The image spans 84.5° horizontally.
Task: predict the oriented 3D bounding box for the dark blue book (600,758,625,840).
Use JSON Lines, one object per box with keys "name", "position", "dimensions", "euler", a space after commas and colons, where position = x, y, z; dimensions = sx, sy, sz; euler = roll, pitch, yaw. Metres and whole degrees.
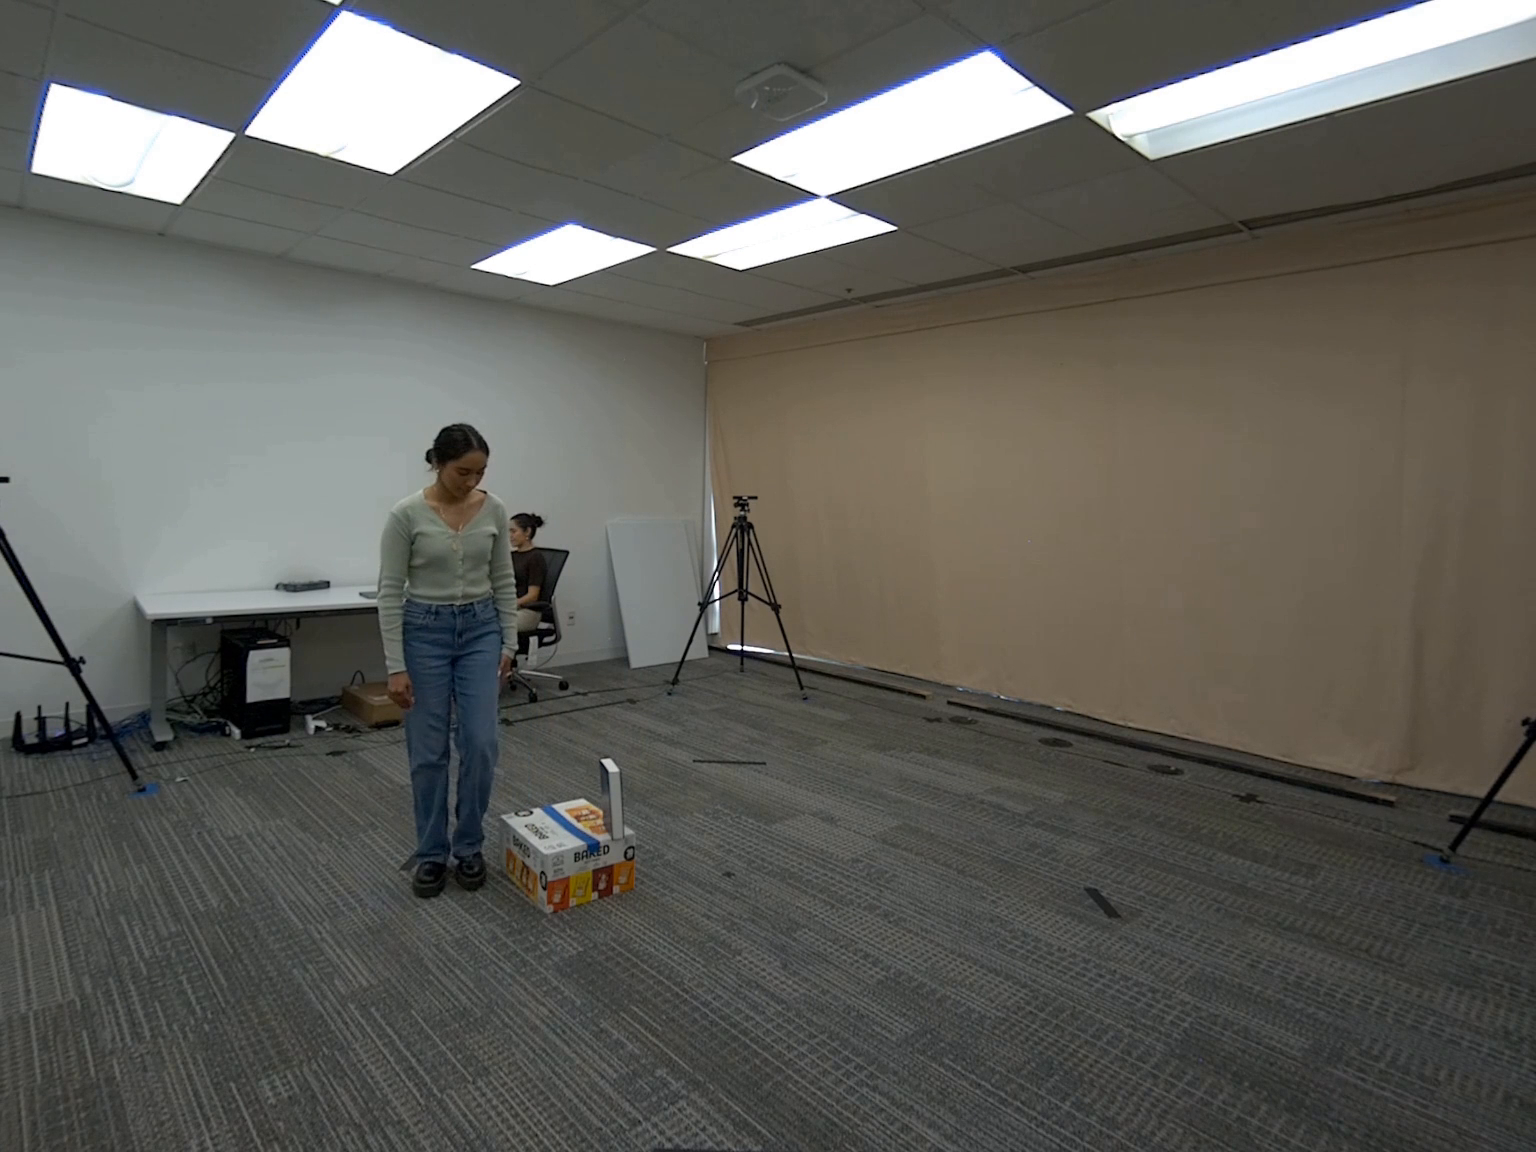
{"name": "dark blue book", "position": [-0.564, 0.786, 2.971], "dimensions": [0.044, 0.244, 0.166], "euler": [-2, 3, -21]}
